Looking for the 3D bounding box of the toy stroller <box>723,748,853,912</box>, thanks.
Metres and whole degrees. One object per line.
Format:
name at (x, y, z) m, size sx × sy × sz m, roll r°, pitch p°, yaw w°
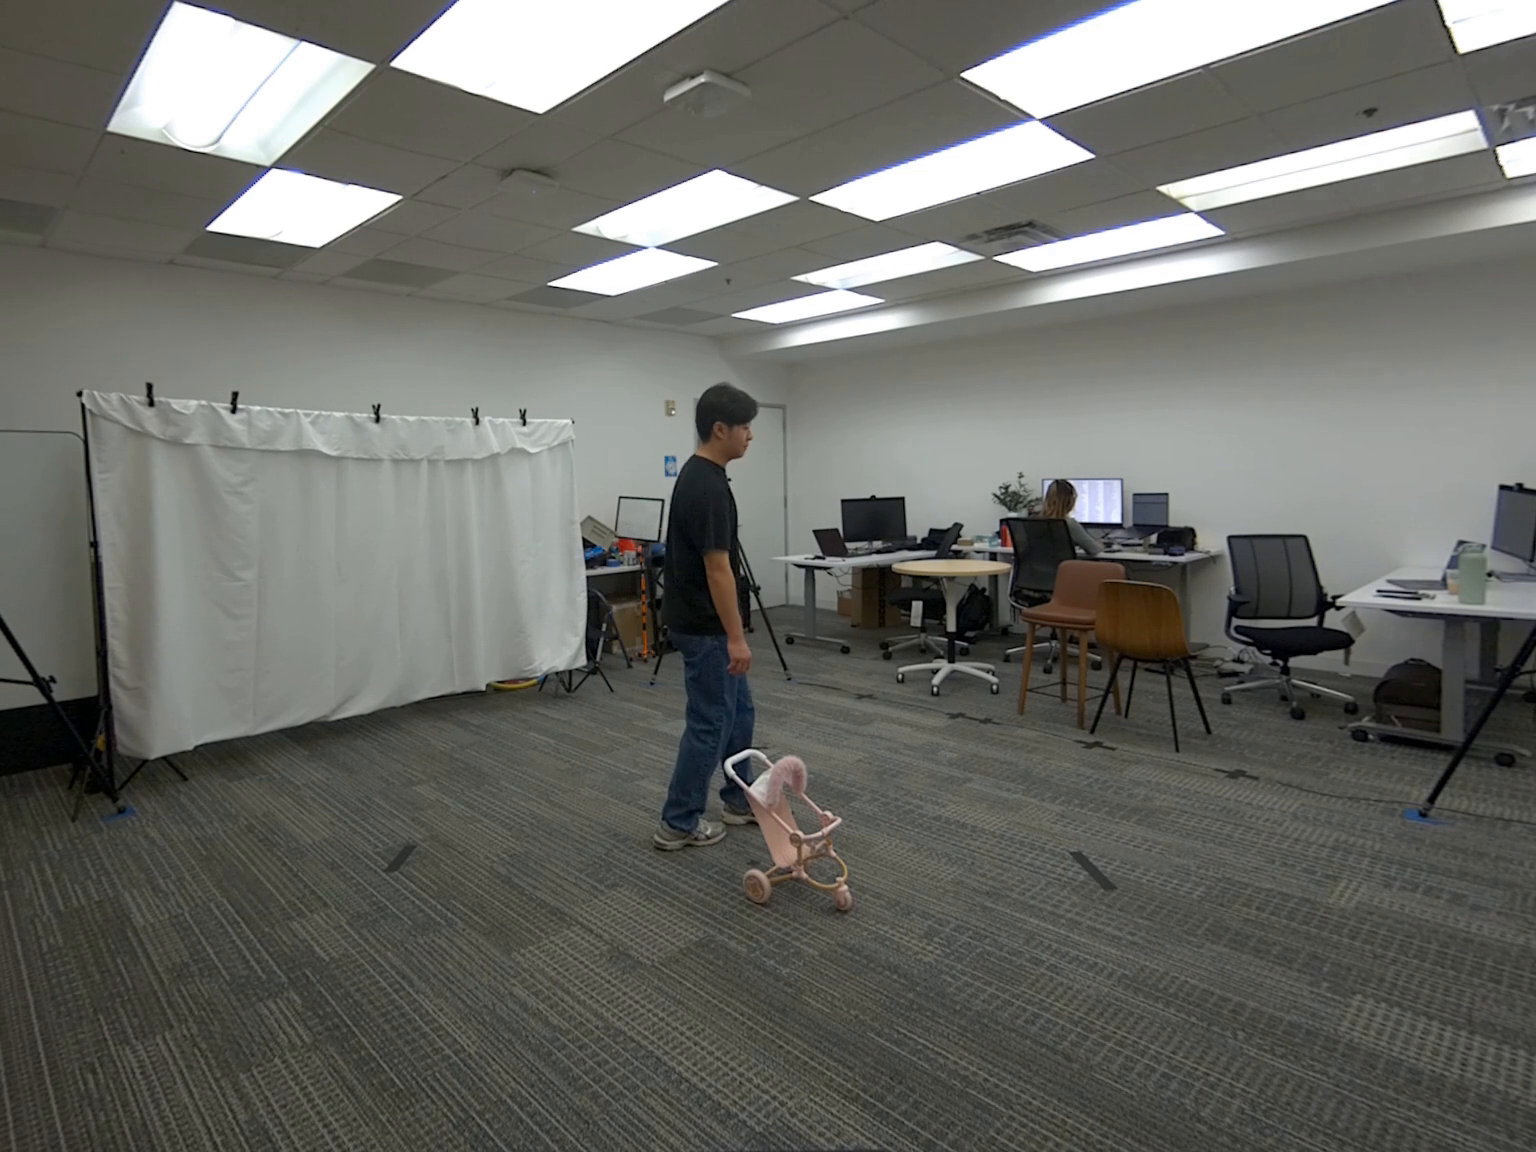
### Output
toy stroller at (0.085, 0.841, 2.860) m, size 0.348 × 0.539 × 0.274 m, roll -18°, pitch -8°, yaw 41°
